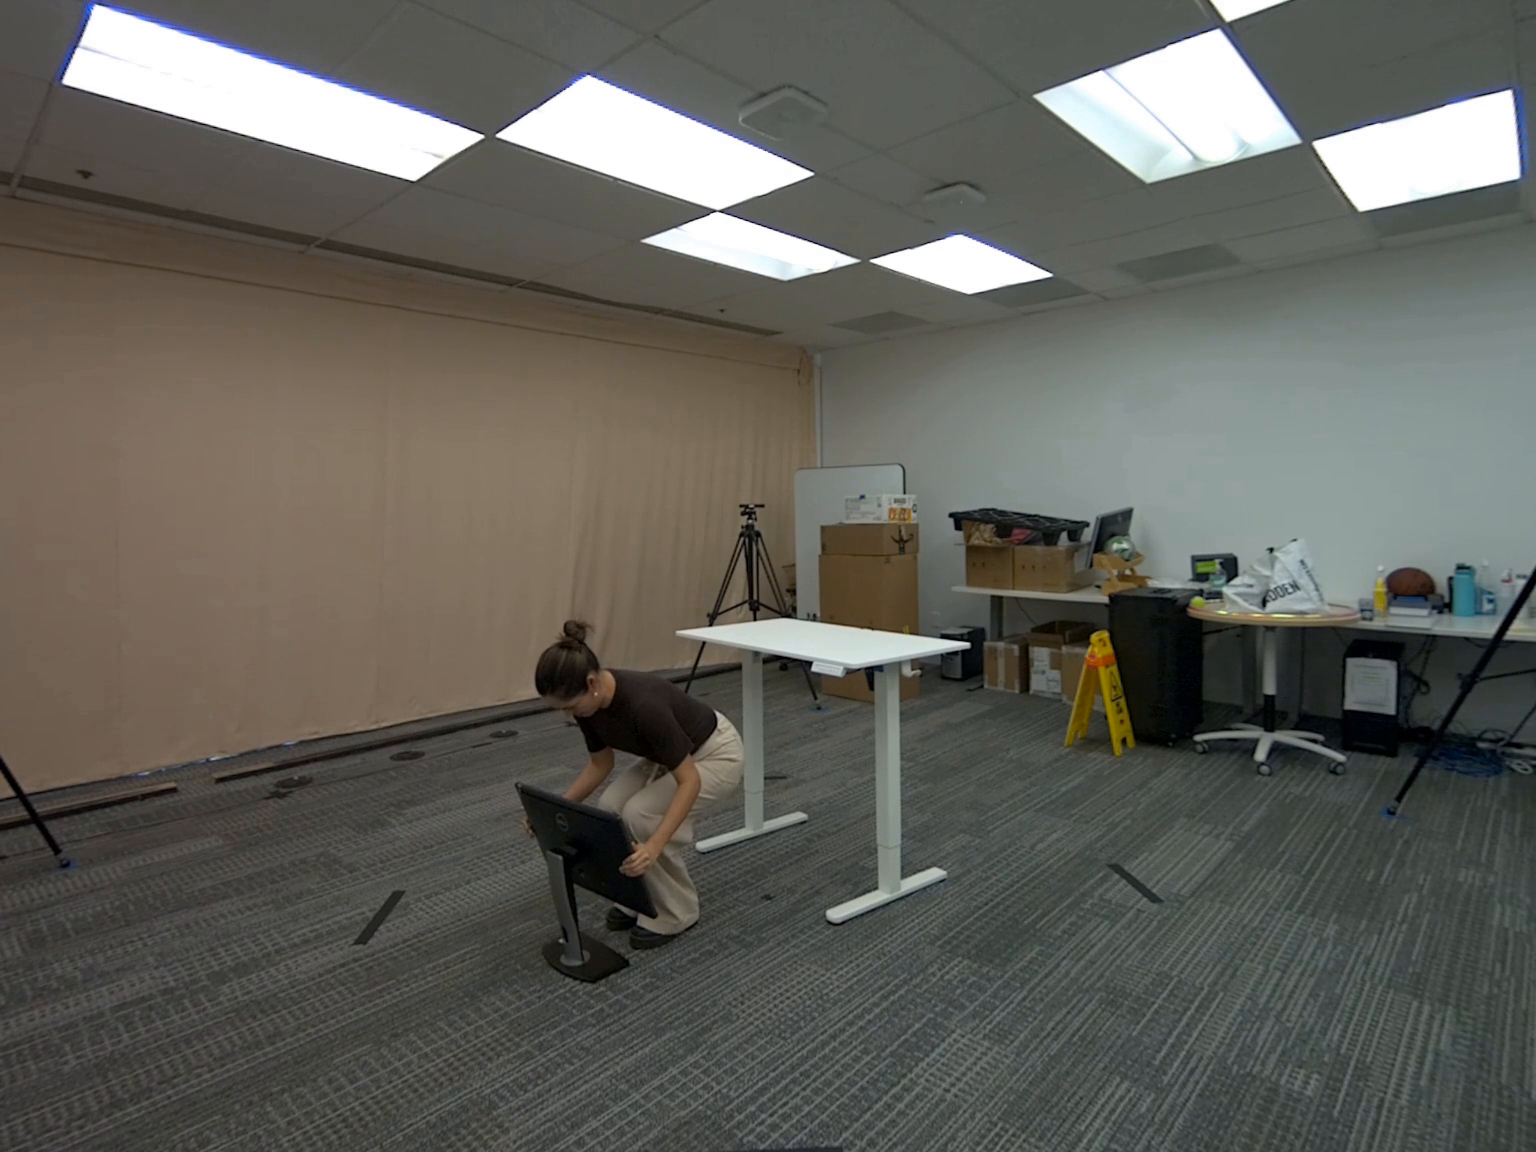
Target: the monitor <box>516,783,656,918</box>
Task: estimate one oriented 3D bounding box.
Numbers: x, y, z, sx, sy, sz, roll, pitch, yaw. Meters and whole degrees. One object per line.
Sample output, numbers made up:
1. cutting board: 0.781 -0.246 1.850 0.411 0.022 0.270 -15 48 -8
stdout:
1. monitor: -0.598 0.939 2.573 0.557 0.520 0.182 1 8 43
